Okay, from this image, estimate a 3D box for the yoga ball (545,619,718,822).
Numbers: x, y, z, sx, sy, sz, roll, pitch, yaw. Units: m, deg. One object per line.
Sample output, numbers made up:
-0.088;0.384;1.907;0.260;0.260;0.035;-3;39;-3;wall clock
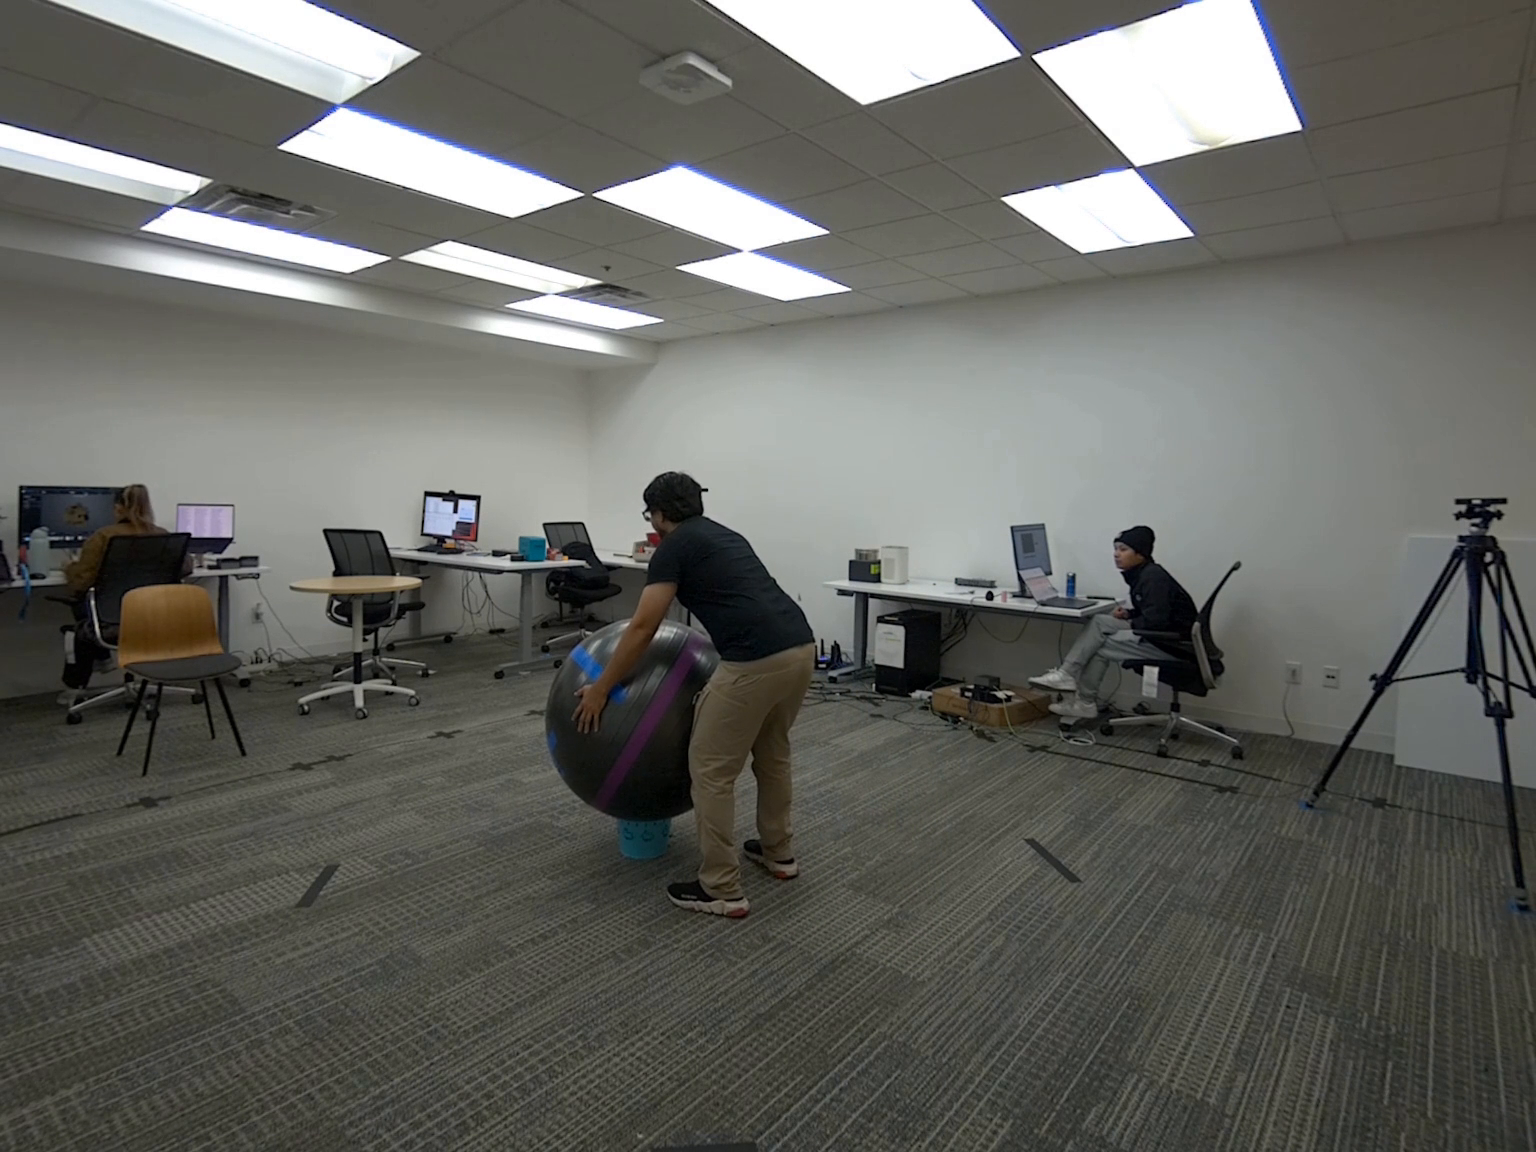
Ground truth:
-0.479;0.542;3.251;0.757;0.756;0.761;1;4;-2;yoga ball
